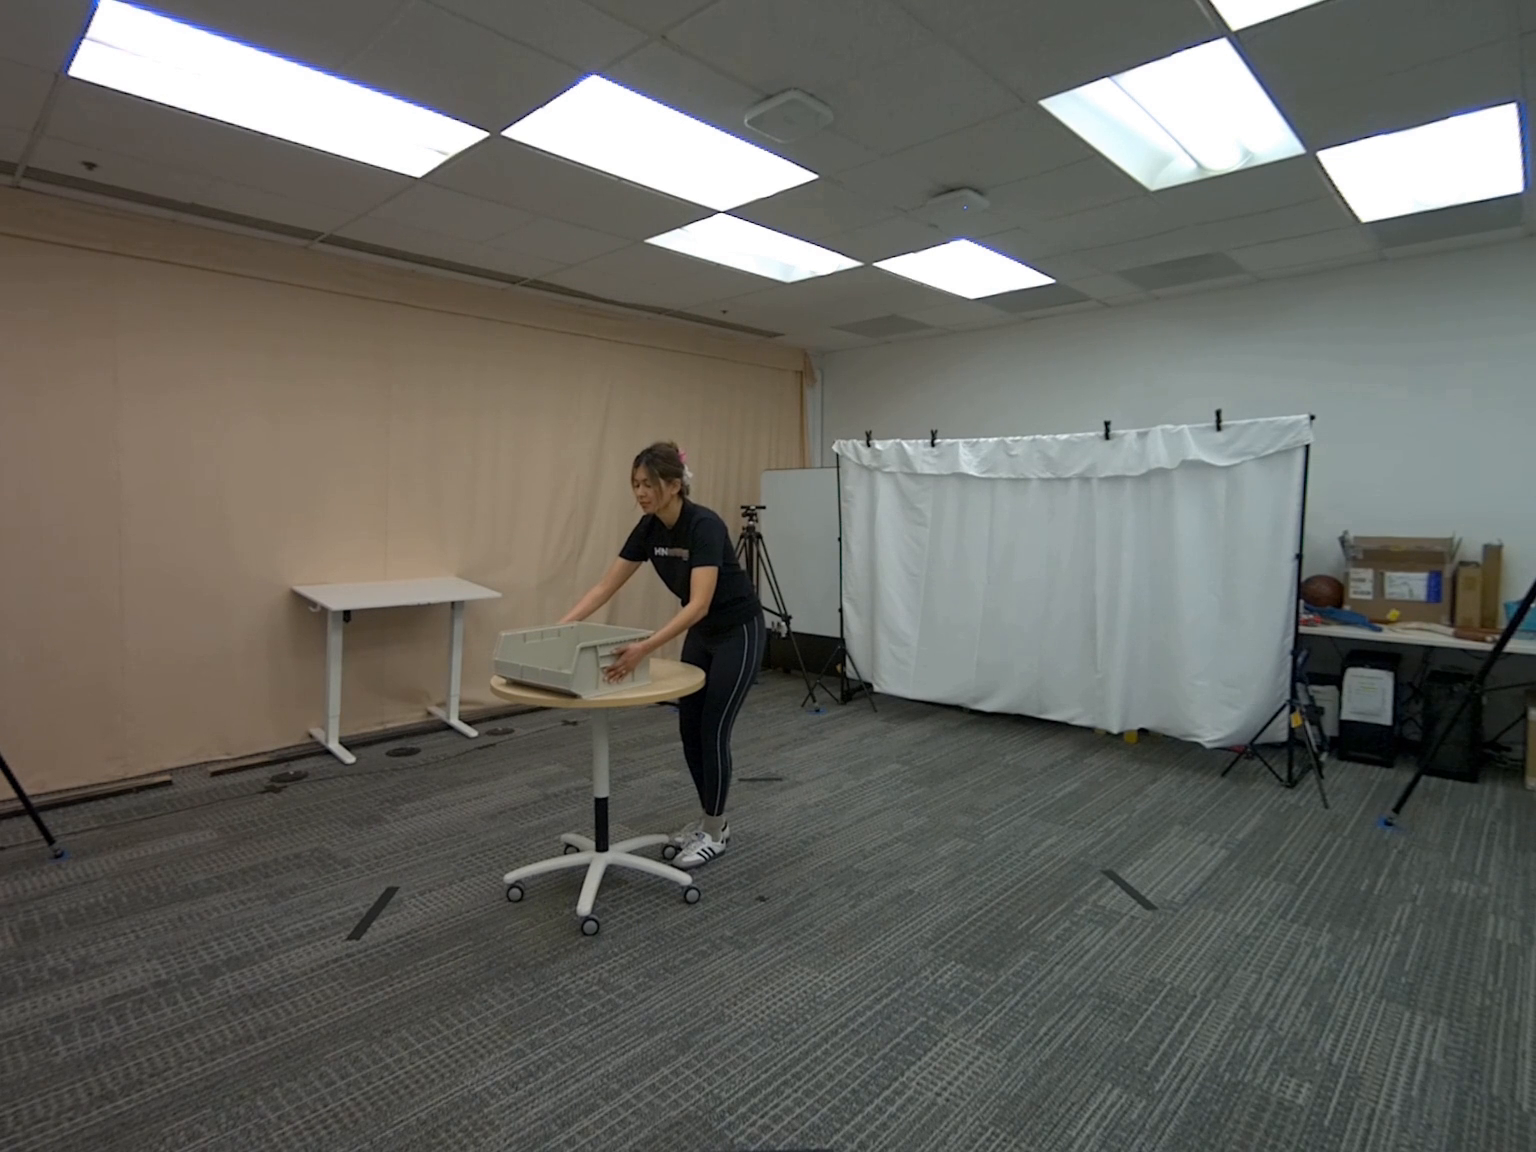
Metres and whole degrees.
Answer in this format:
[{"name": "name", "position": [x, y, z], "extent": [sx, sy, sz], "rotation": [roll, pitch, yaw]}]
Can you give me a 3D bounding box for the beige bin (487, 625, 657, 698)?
[{"name": "beige bin", "position": [-0.666, 0.278, 2.888], "extent": [0.435, 0.189, 0.365], "rotation": [1, -1, 35]}]
